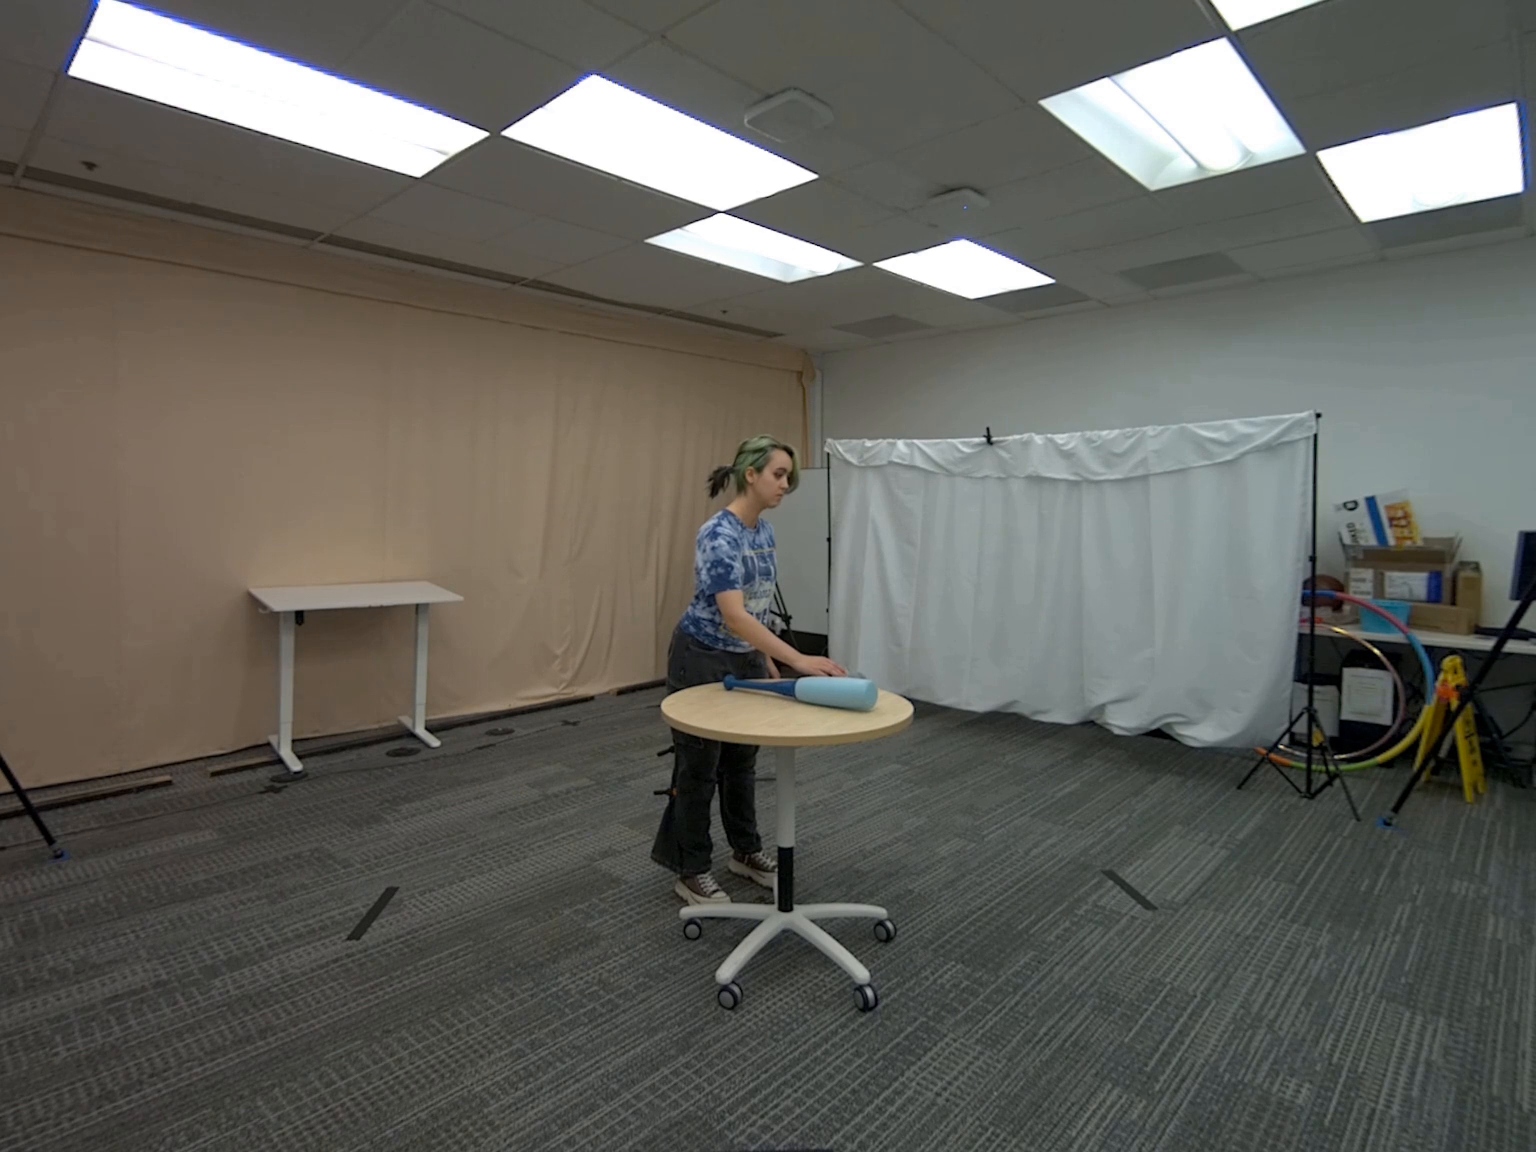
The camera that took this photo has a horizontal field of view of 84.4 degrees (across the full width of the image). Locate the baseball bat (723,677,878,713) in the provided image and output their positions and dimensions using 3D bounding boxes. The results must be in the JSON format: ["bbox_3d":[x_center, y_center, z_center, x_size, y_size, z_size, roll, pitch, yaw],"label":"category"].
[{"bbox_3d":[0.088,0.356,2.622,0.559,0.089,0.086,-2,2,36],"label":"baseball bat"}]
